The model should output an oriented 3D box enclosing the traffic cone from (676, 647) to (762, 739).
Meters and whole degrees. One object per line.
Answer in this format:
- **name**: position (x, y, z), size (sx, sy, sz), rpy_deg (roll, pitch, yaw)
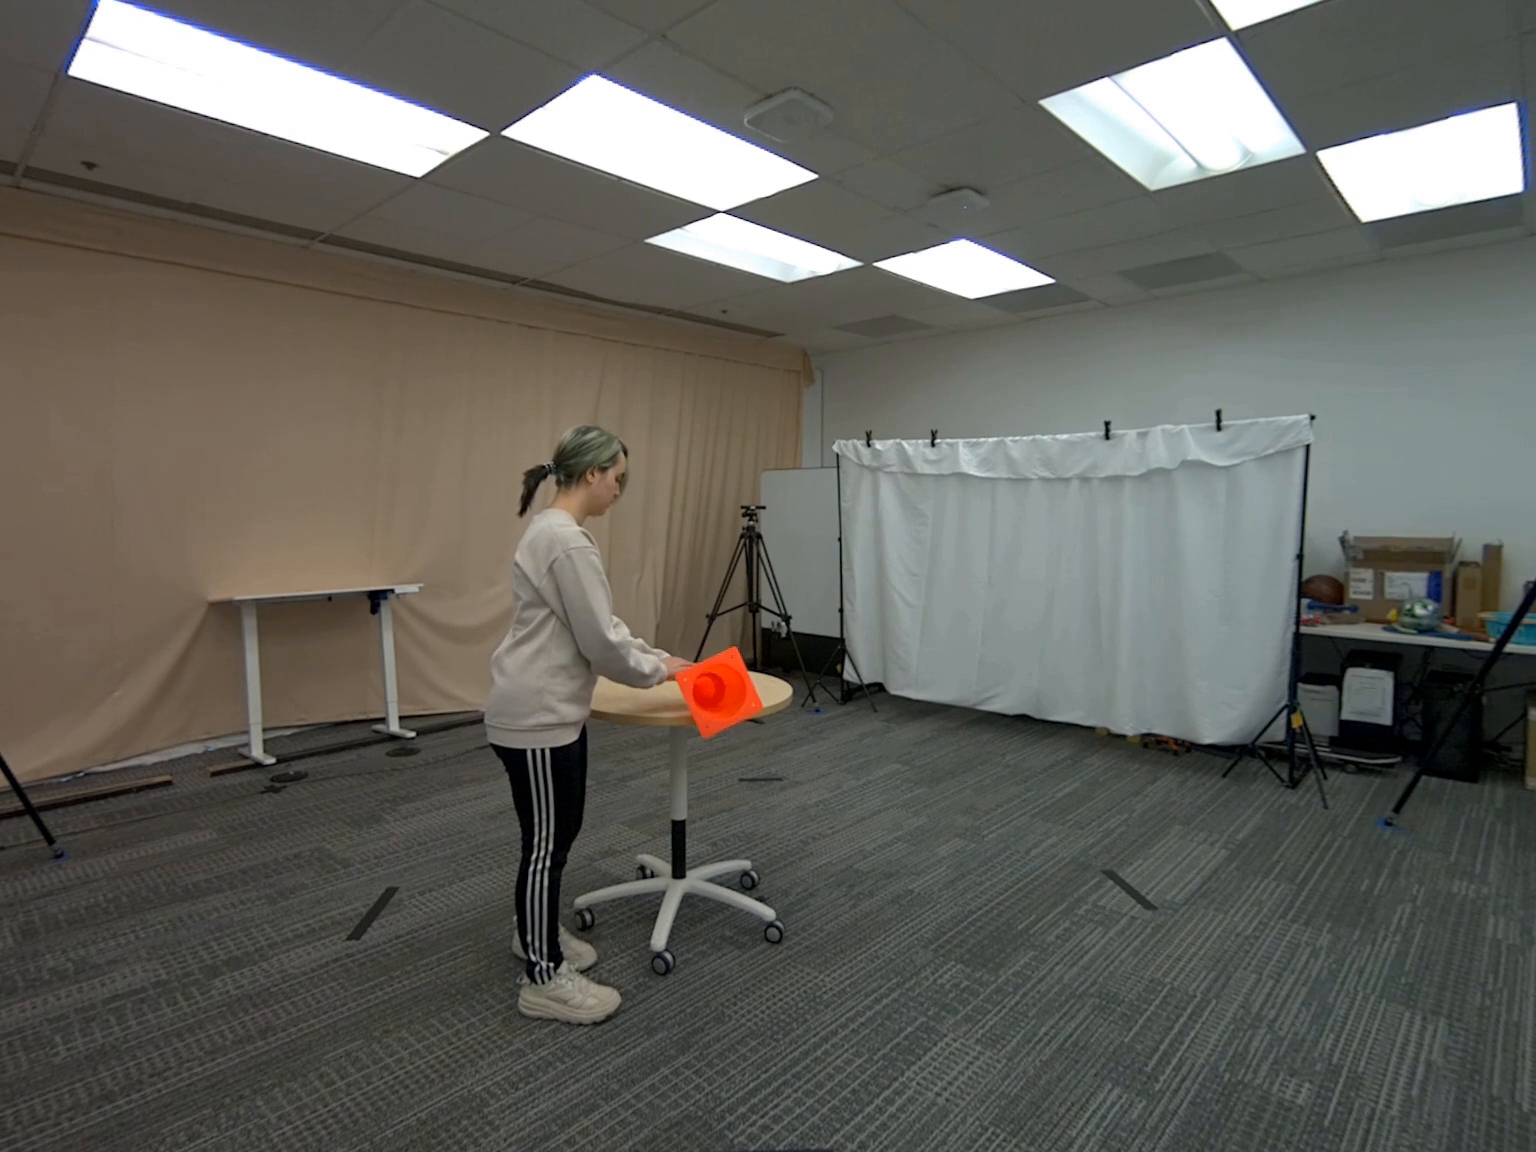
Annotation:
- **traffic cone**: position (-0.183, 0.353, 2.573), size (0.201, 0.205, 0.387), rpy_deg (-27, 1, -15)
